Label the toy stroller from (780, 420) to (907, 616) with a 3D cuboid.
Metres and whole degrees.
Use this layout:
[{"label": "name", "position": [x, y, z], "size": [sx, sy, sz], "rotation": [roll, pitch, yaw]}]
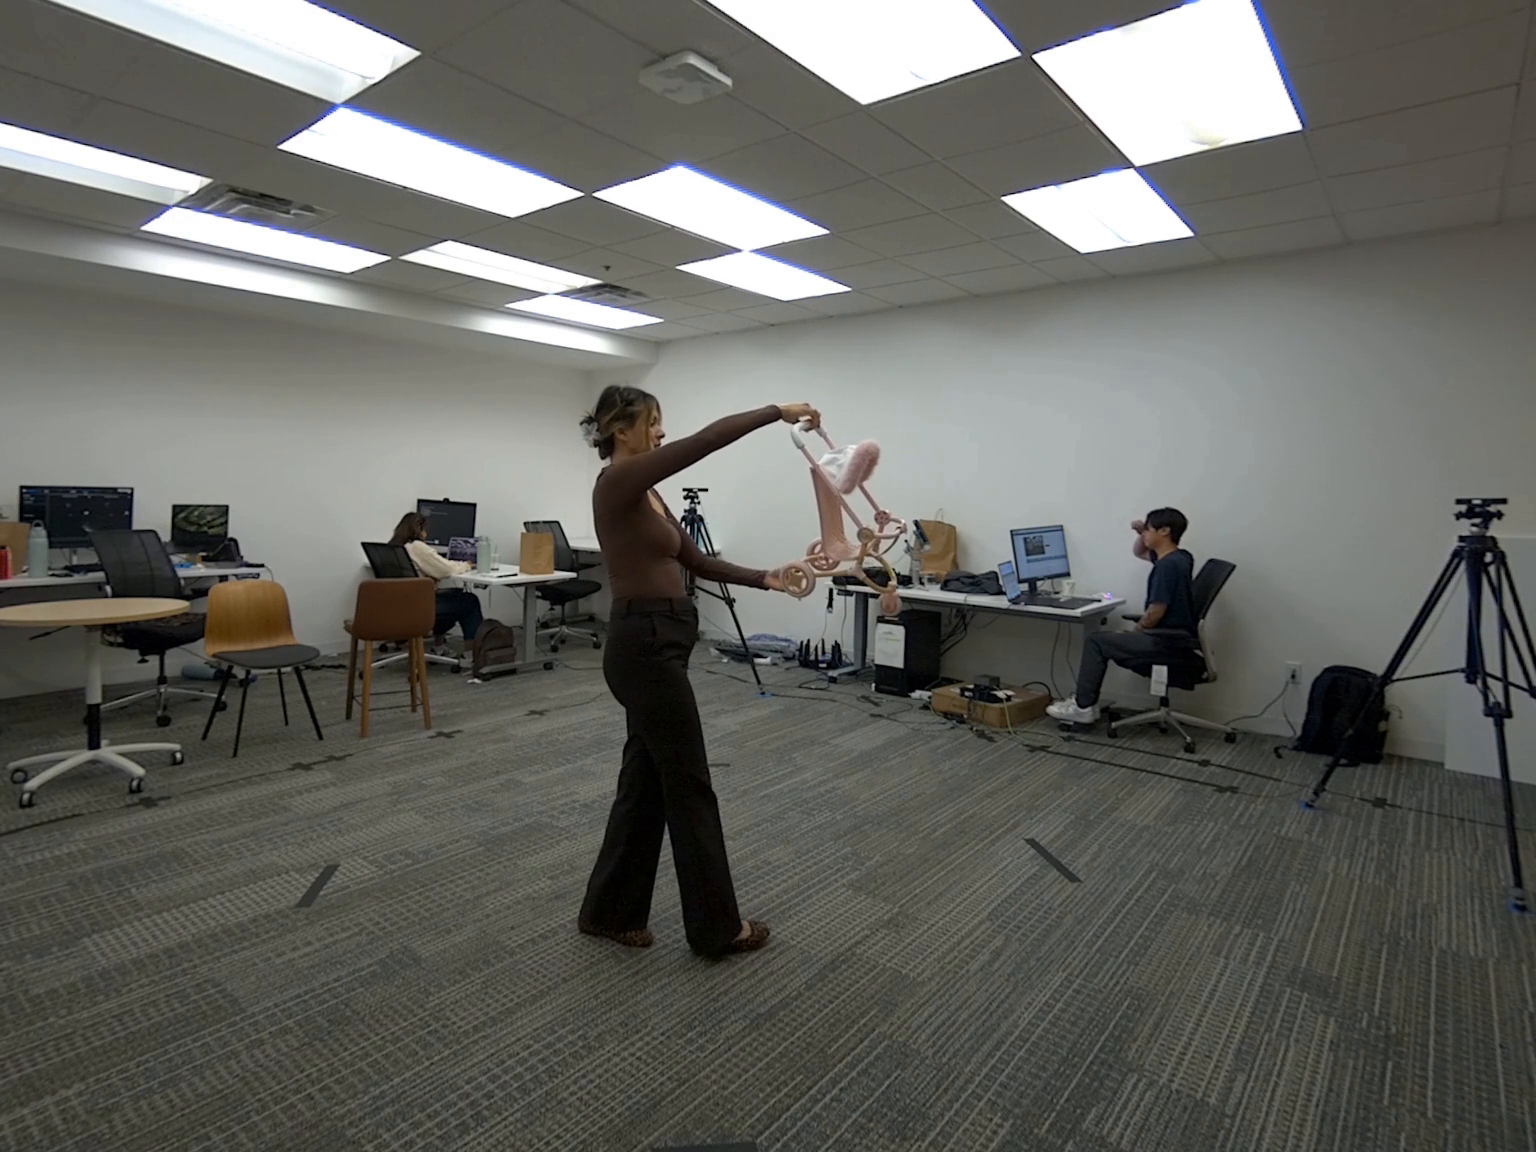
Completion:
[{"label": "toy stroller", "position": [0.224, -0.156, 2.415], "size": [0.351, 0.527, 0.277], "rotation": [10, 17, 25]}]
